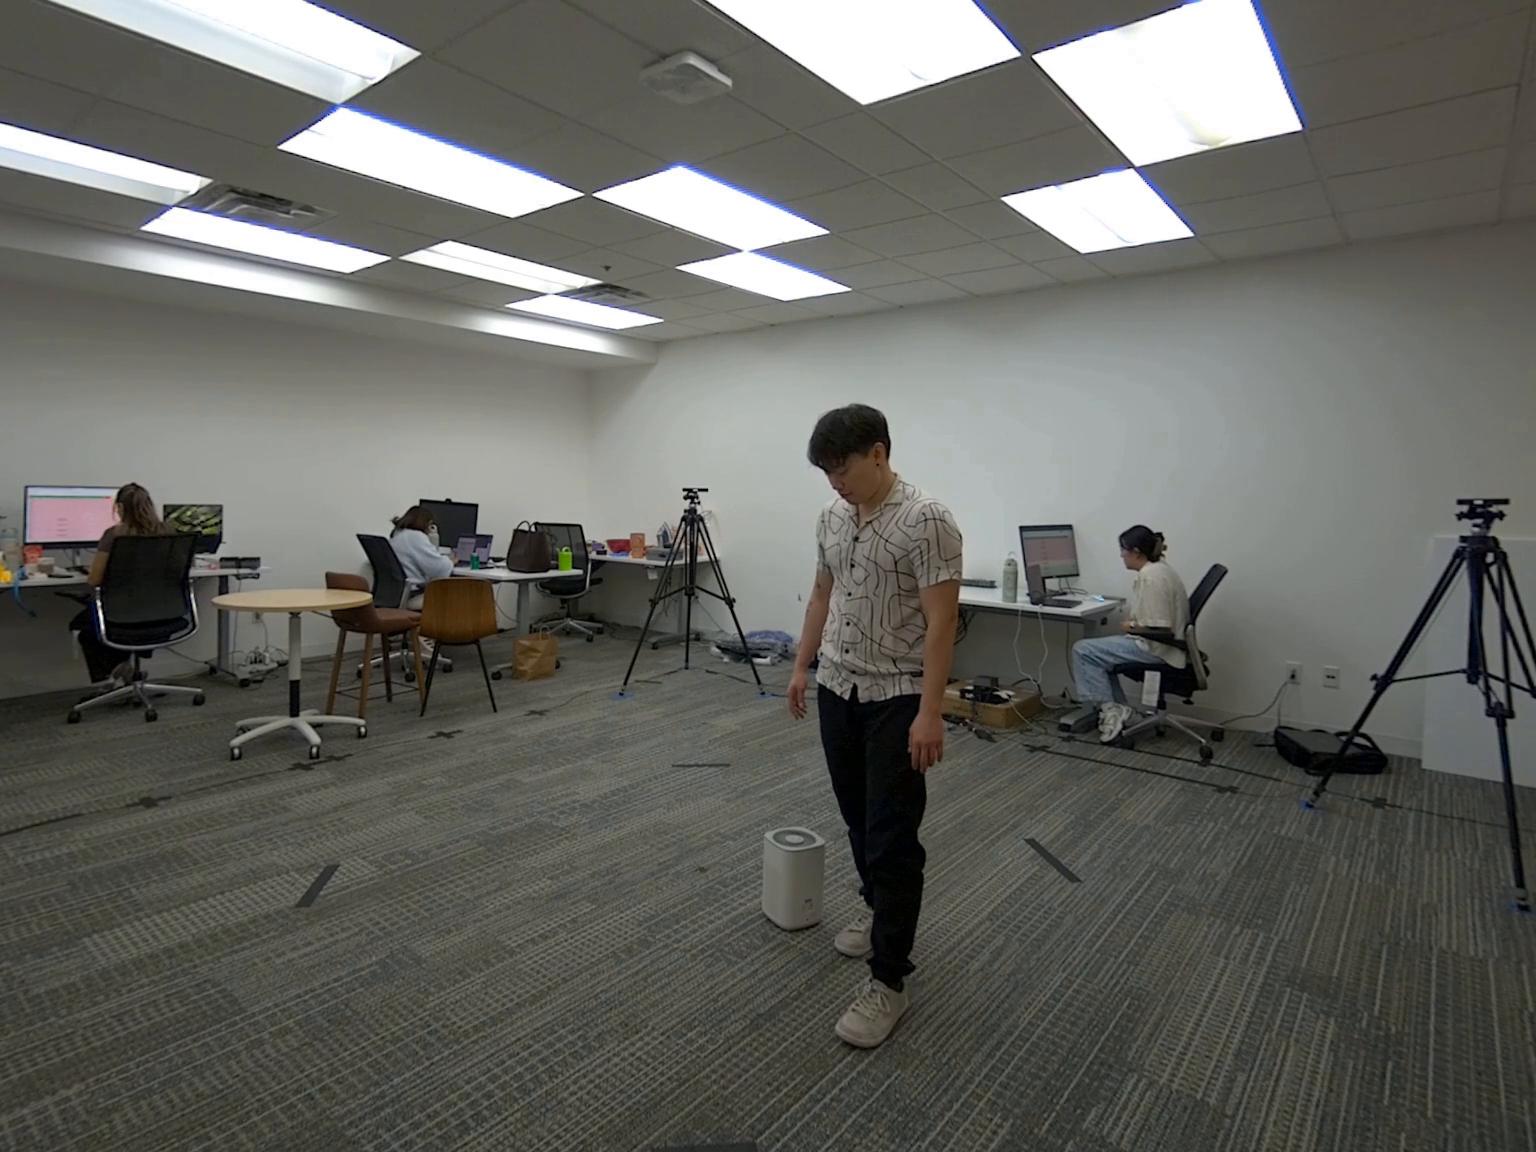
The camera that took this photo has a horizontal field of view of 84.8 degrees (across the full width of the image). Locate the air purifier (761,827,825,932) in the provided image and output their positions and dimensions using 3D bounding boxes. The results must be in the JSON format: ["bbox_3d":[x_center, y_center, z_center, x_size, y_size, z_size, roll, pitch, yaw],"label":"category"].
[{"bbox_3d":[0.077,0.975,2.754,0.167,0.265,0.176,0,3,-33],"label":"air purifier"}]
